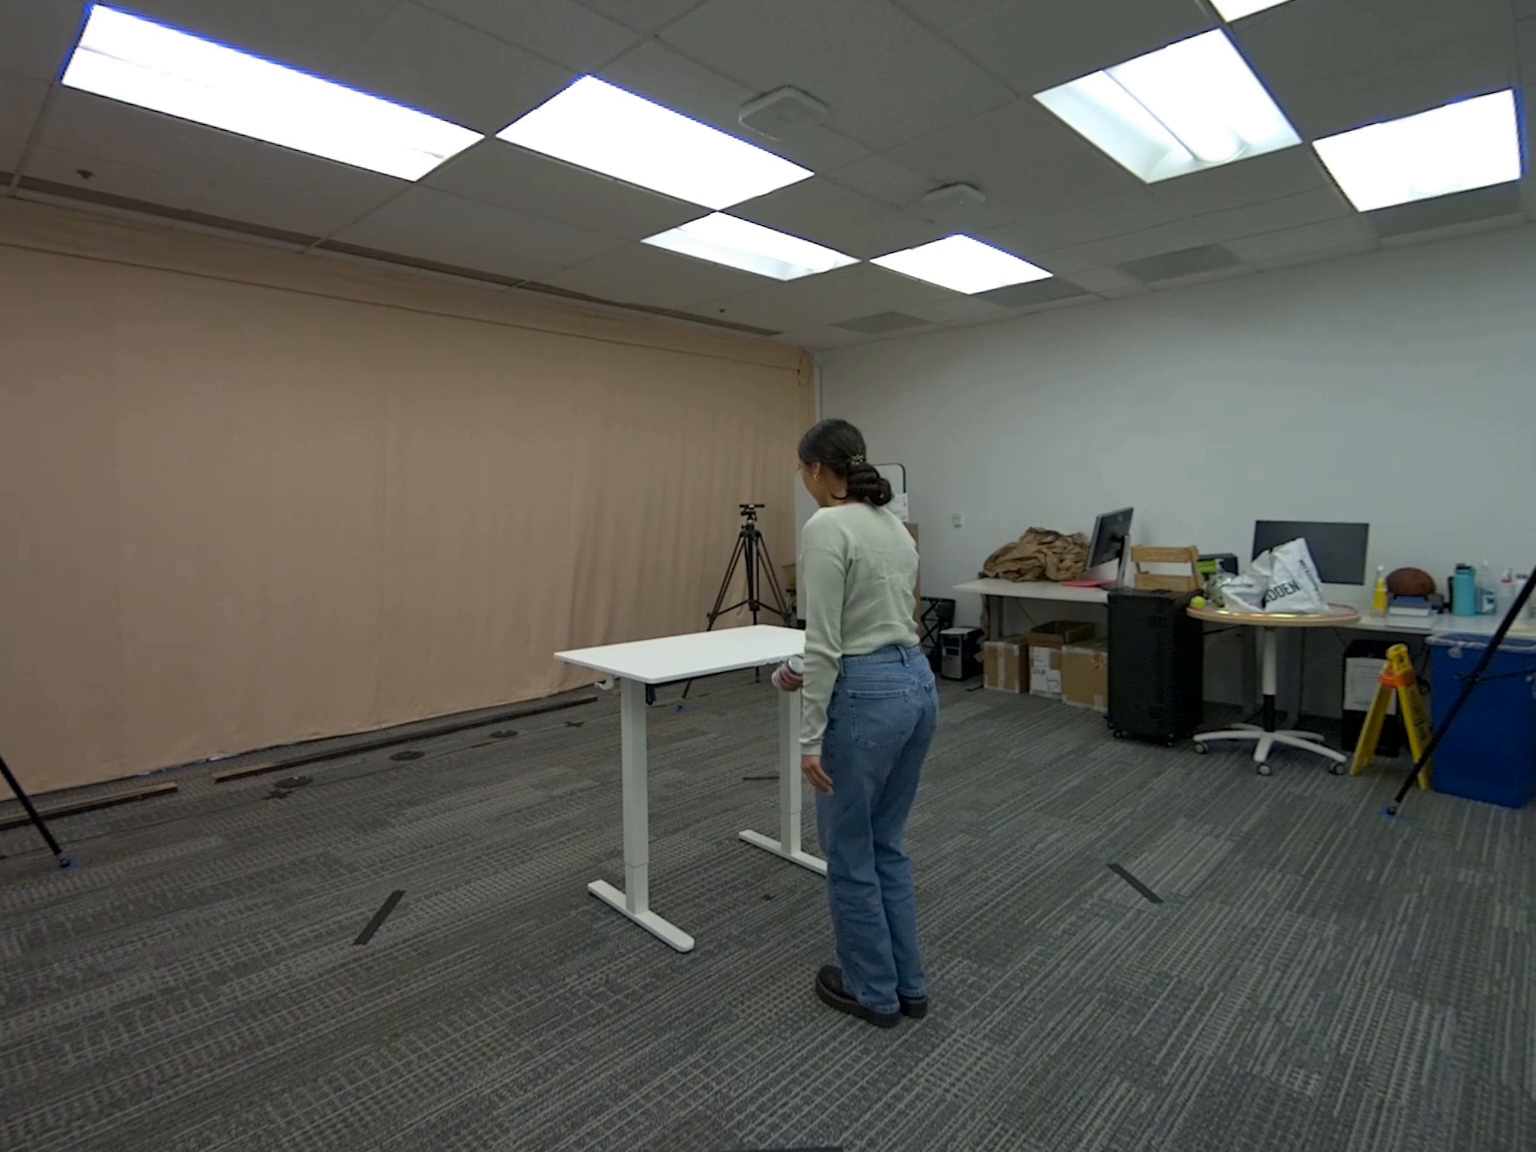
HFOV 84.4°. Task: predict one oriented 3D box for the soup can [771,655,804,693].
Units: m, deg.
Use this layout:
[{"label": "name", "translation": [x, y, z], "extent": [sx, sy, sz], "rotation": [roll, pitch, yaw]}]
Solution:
[{"label": "soup can", "translation": [0.073, 0.274, 2.558], "extent": [0.066, 0.068, 0.121], "rotation": [-1, -30, -17]}]
